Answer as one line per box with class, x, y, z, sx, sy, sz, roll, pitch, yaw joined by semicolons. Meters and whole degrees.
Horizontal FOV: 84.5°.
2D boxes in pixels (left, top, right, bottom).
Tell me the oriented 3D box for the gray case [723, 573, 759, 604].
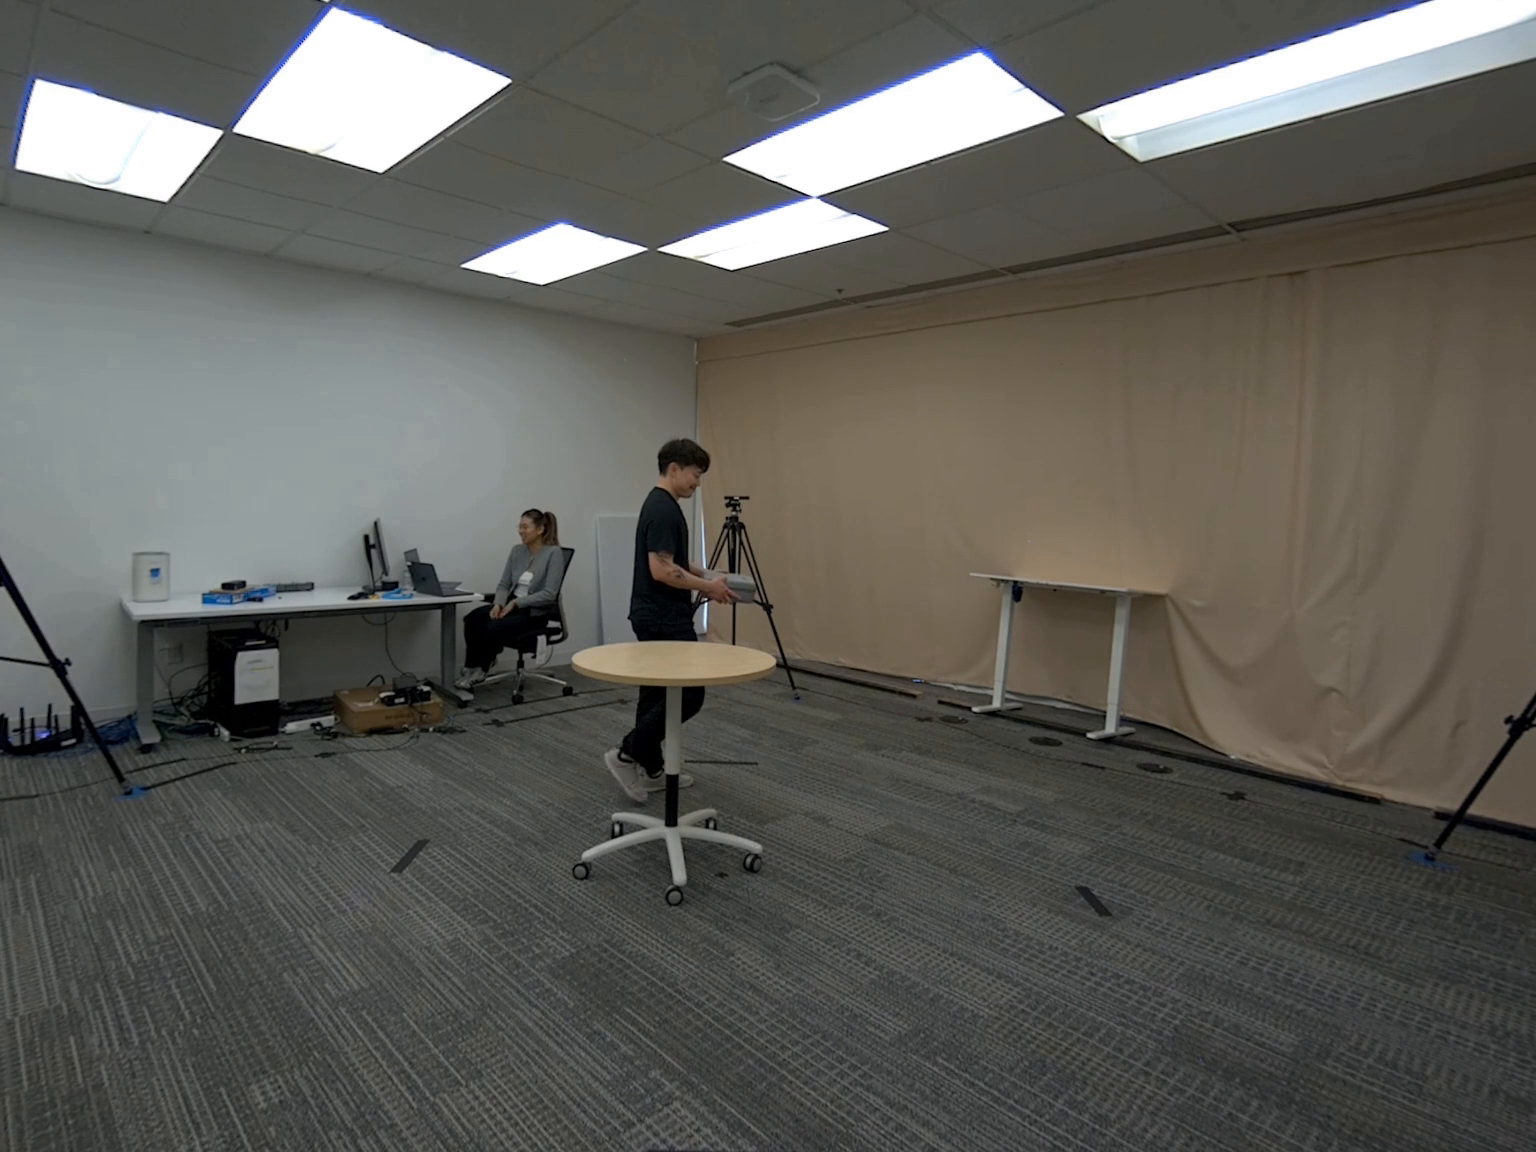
gray case;-0.191;0.050;3.966;0.260;0.104;0.258;7;5;-3
